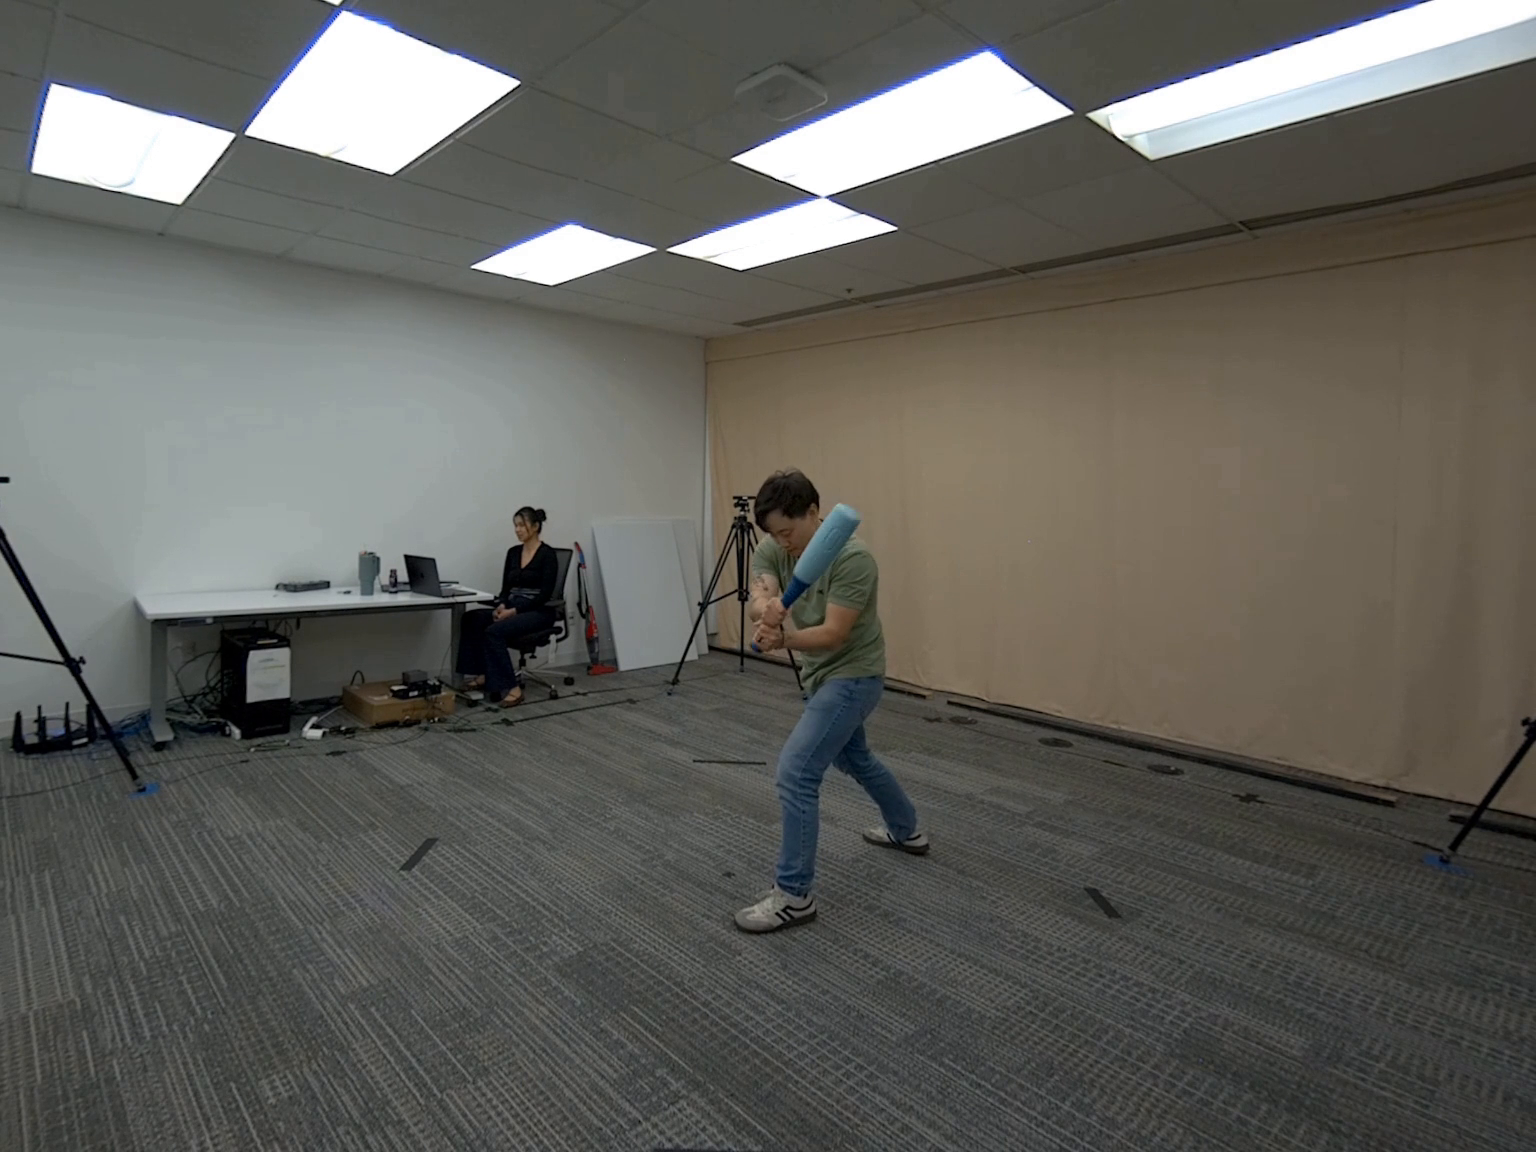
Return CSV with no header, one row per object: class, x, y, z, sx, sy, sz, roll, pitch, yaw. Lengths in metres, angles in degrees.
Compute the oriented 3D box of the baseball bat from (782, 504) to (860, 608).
baseball bat,0.086,0.029,2.488,0.088,0.540,0.091,26,25,-15
